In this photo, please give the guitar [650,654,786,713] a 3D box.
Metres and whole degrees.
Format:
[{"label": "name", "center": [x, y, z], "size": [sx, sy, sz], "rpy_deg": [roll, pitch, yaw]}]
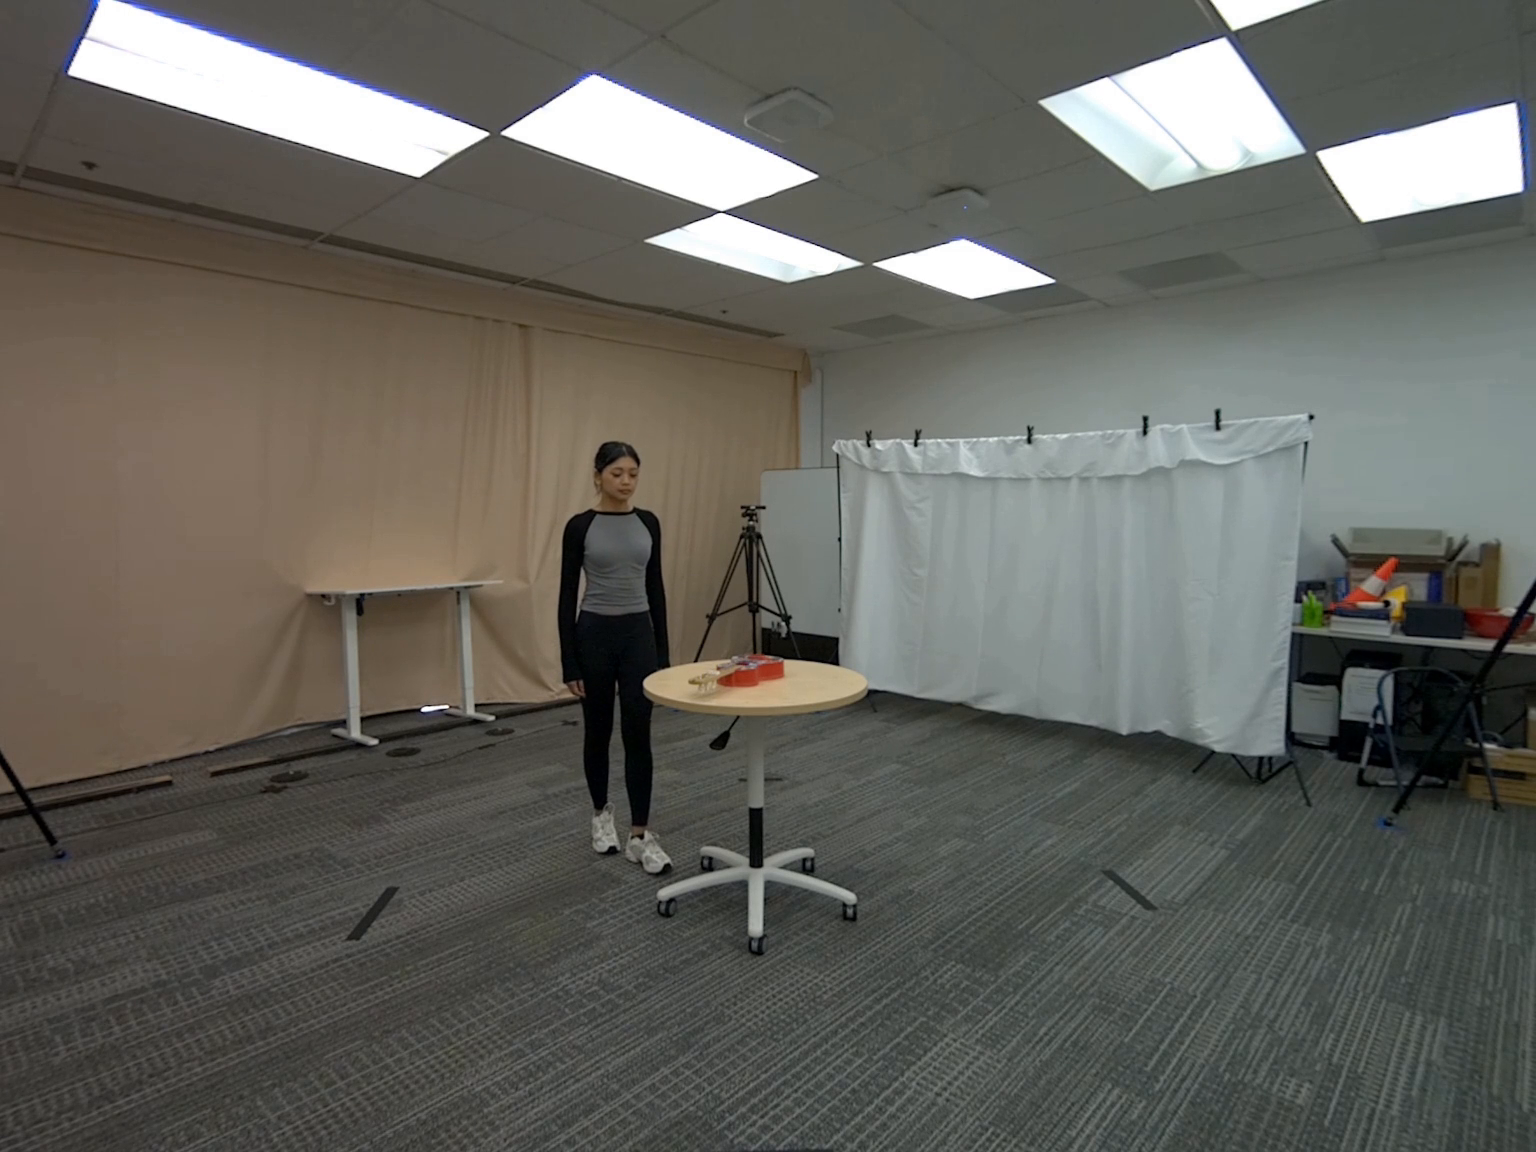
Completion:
[{"label": "guitar", "center": [-0.134, 0.334, 2.833], "size": [0.199, 0.070, 0.483], "rpy_deg": [2, 5, 35]}]
